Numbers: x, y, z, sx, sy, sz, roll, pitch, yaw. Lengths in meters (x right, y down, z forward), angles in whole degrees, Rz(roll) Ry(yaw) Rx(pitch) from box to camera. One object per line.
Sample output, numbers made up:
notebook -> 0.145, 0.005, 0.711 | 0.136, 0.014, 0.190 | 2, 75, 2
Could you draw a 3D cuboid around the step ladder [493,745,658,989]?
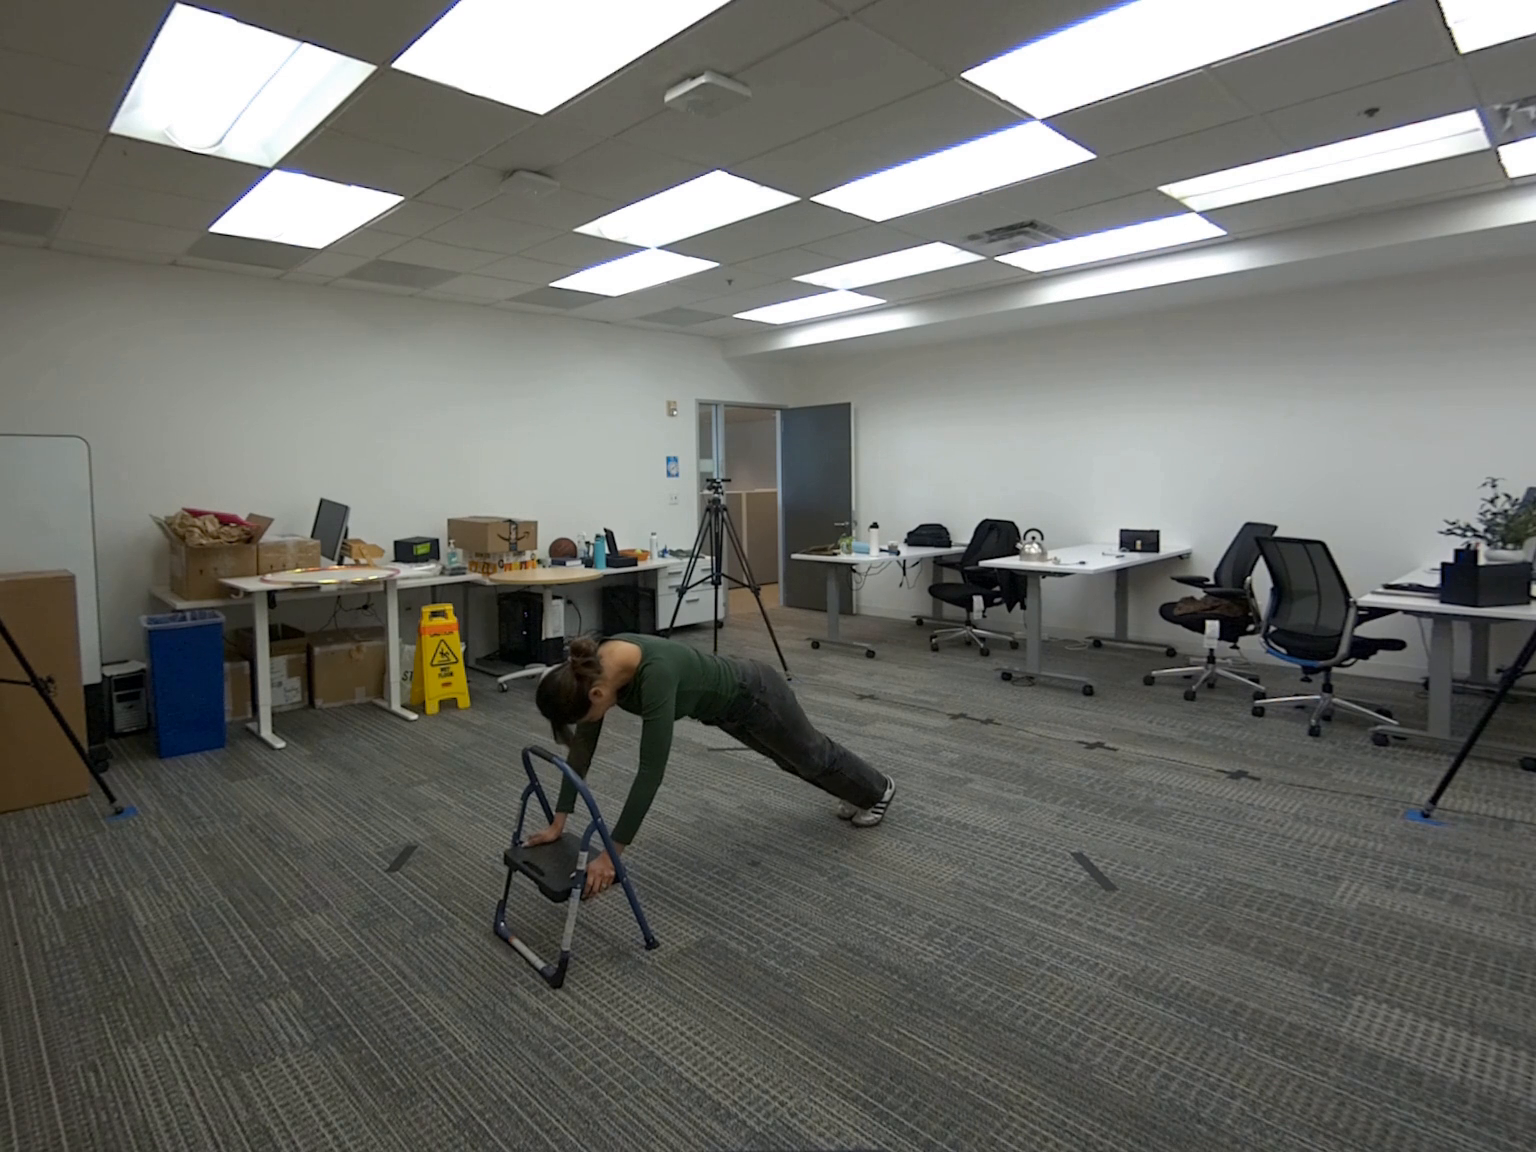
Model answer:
step ladder -> -0.599, 0.814, 2.602 | 0.340, 0.603, 0.444 | -5, 6, -41
